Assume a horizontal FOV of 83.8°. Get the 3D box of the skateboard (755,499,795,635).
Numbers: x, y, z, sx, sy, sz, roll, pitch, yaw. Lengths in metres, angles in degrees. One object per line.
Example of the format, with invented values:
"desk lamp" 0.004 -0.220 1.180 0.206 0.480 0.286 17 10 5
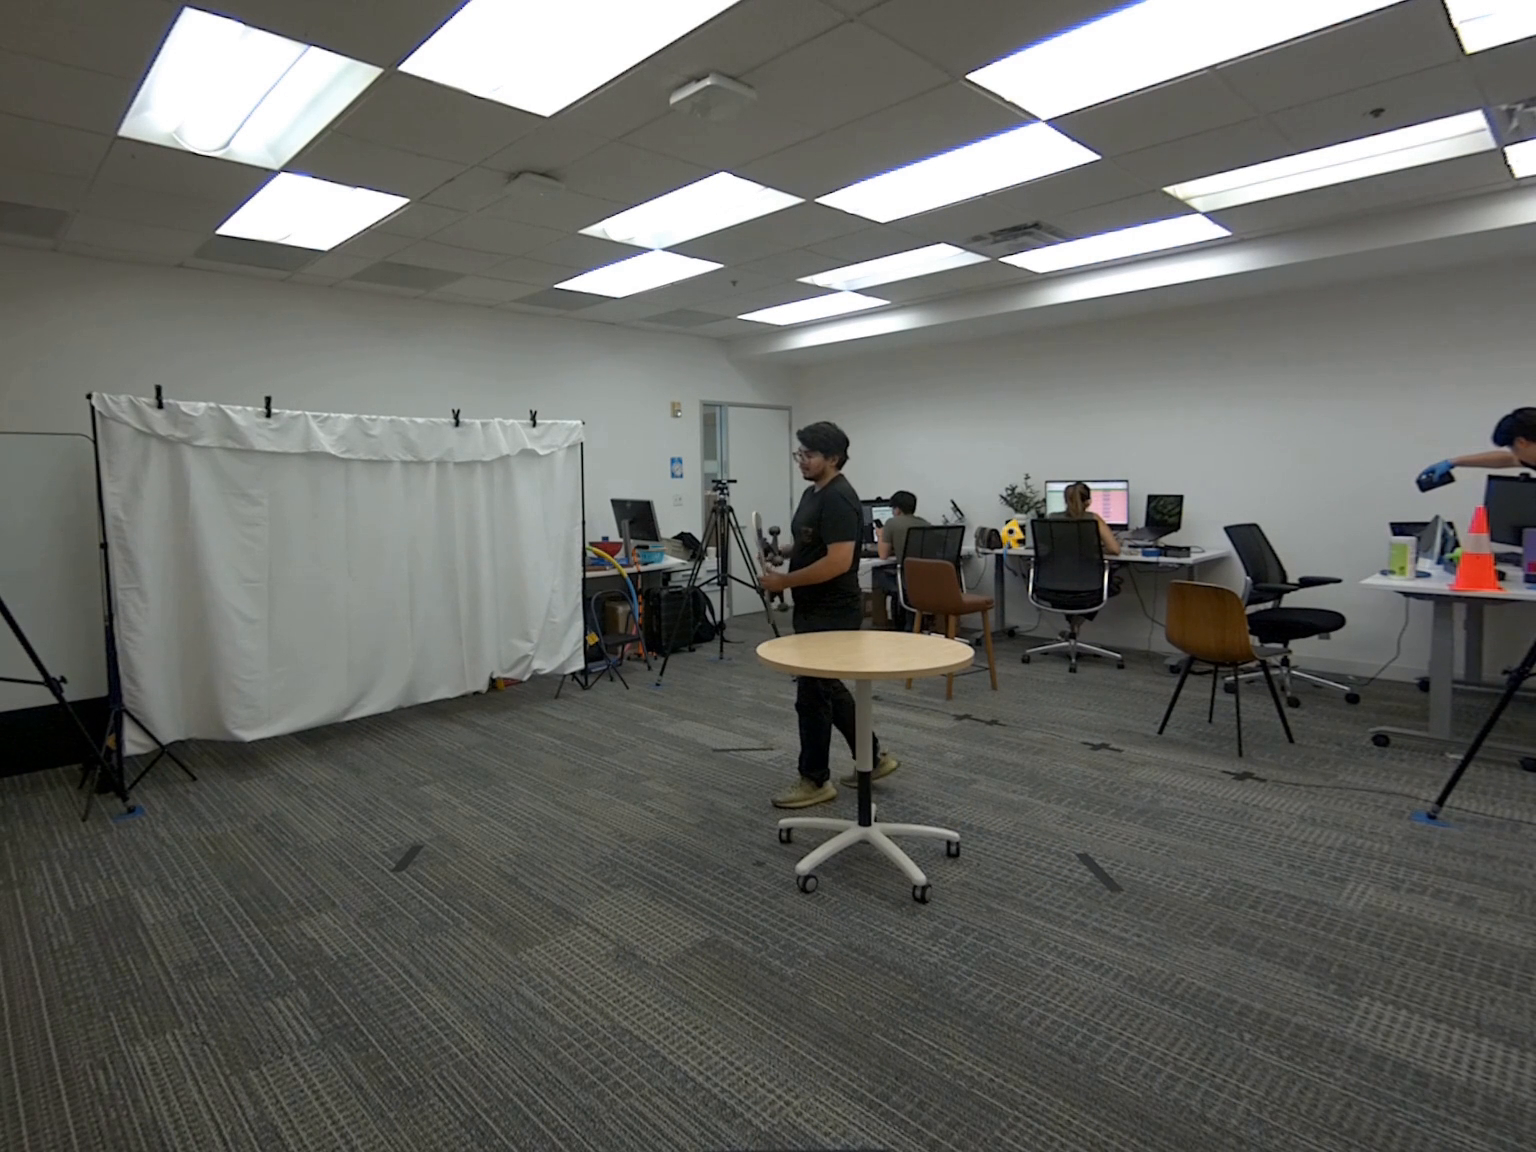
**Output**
"skateboard" 0.035 -0.021 3.743 0.111 0.198 0.762 -4 -33 3
